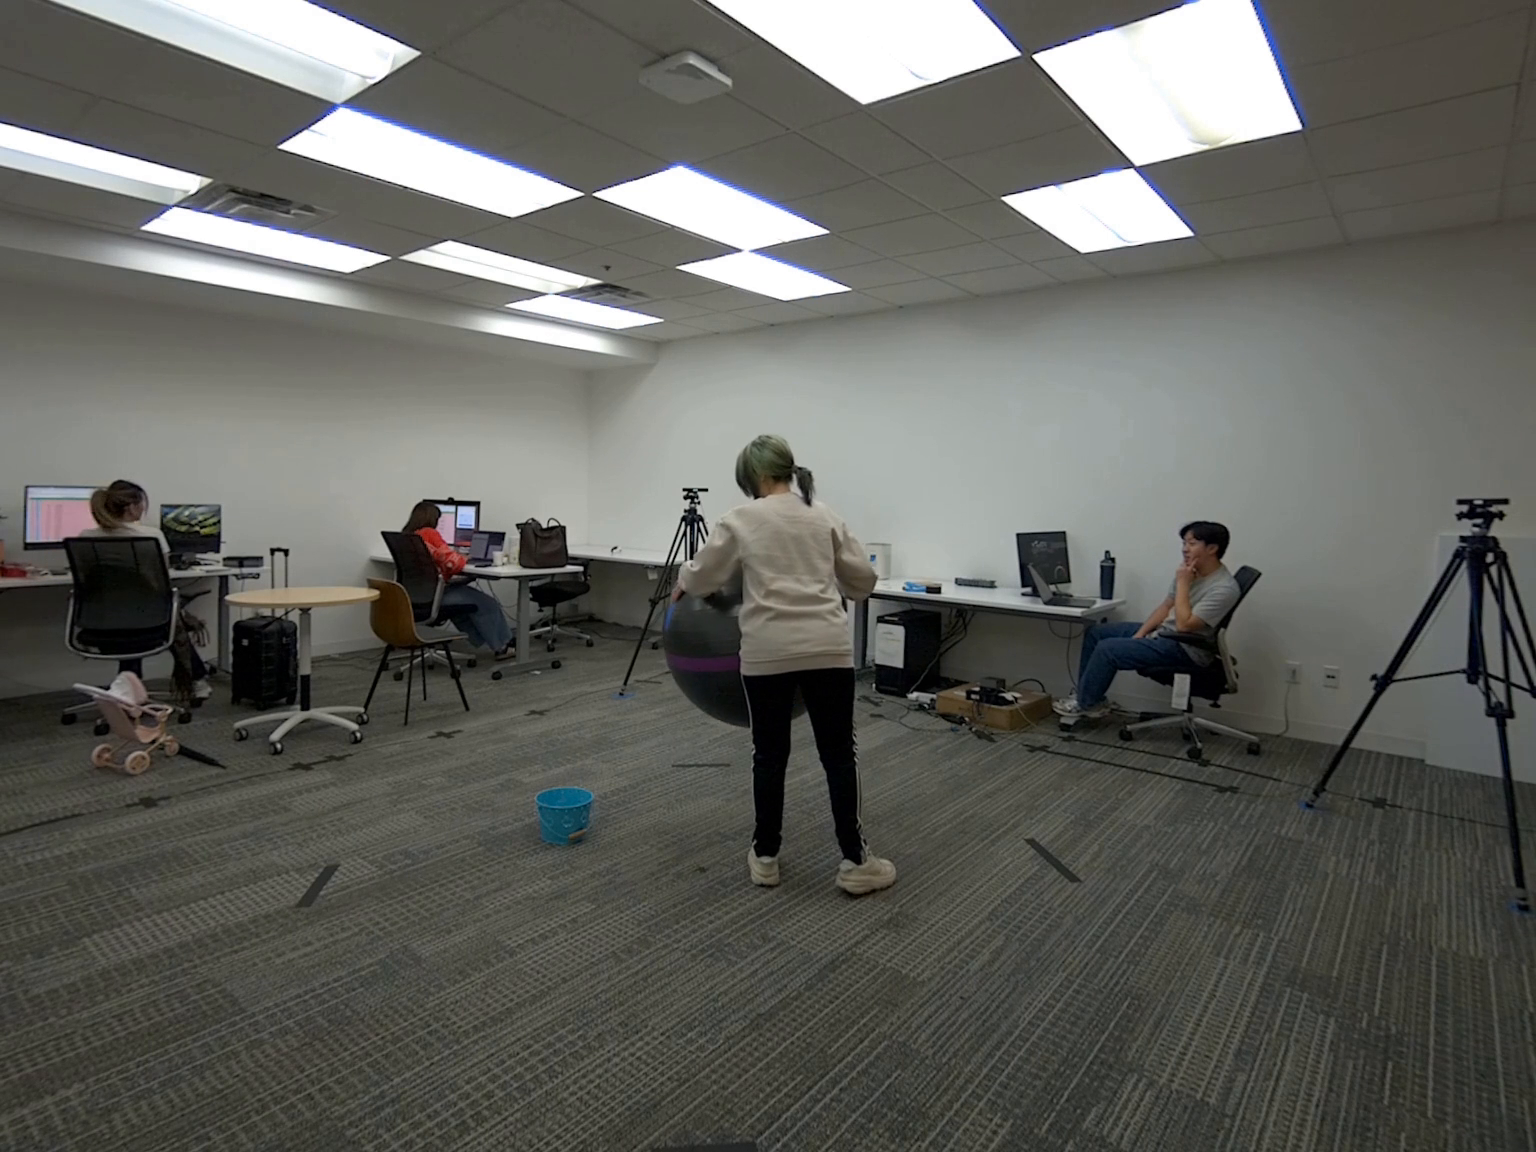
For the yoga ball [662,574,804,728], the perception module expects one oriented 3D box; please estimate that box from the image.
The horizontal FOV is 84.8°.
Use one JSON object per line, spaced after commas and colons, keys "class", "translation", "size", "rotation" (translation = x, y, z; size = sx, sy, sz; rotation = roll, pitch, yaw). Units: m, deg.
{"class": "yoga ball", "translation": [-0.066, 0.236, 3.468], "size": [0.757, 0.755, 0.762], "rotation": [1, 4, -2]}
